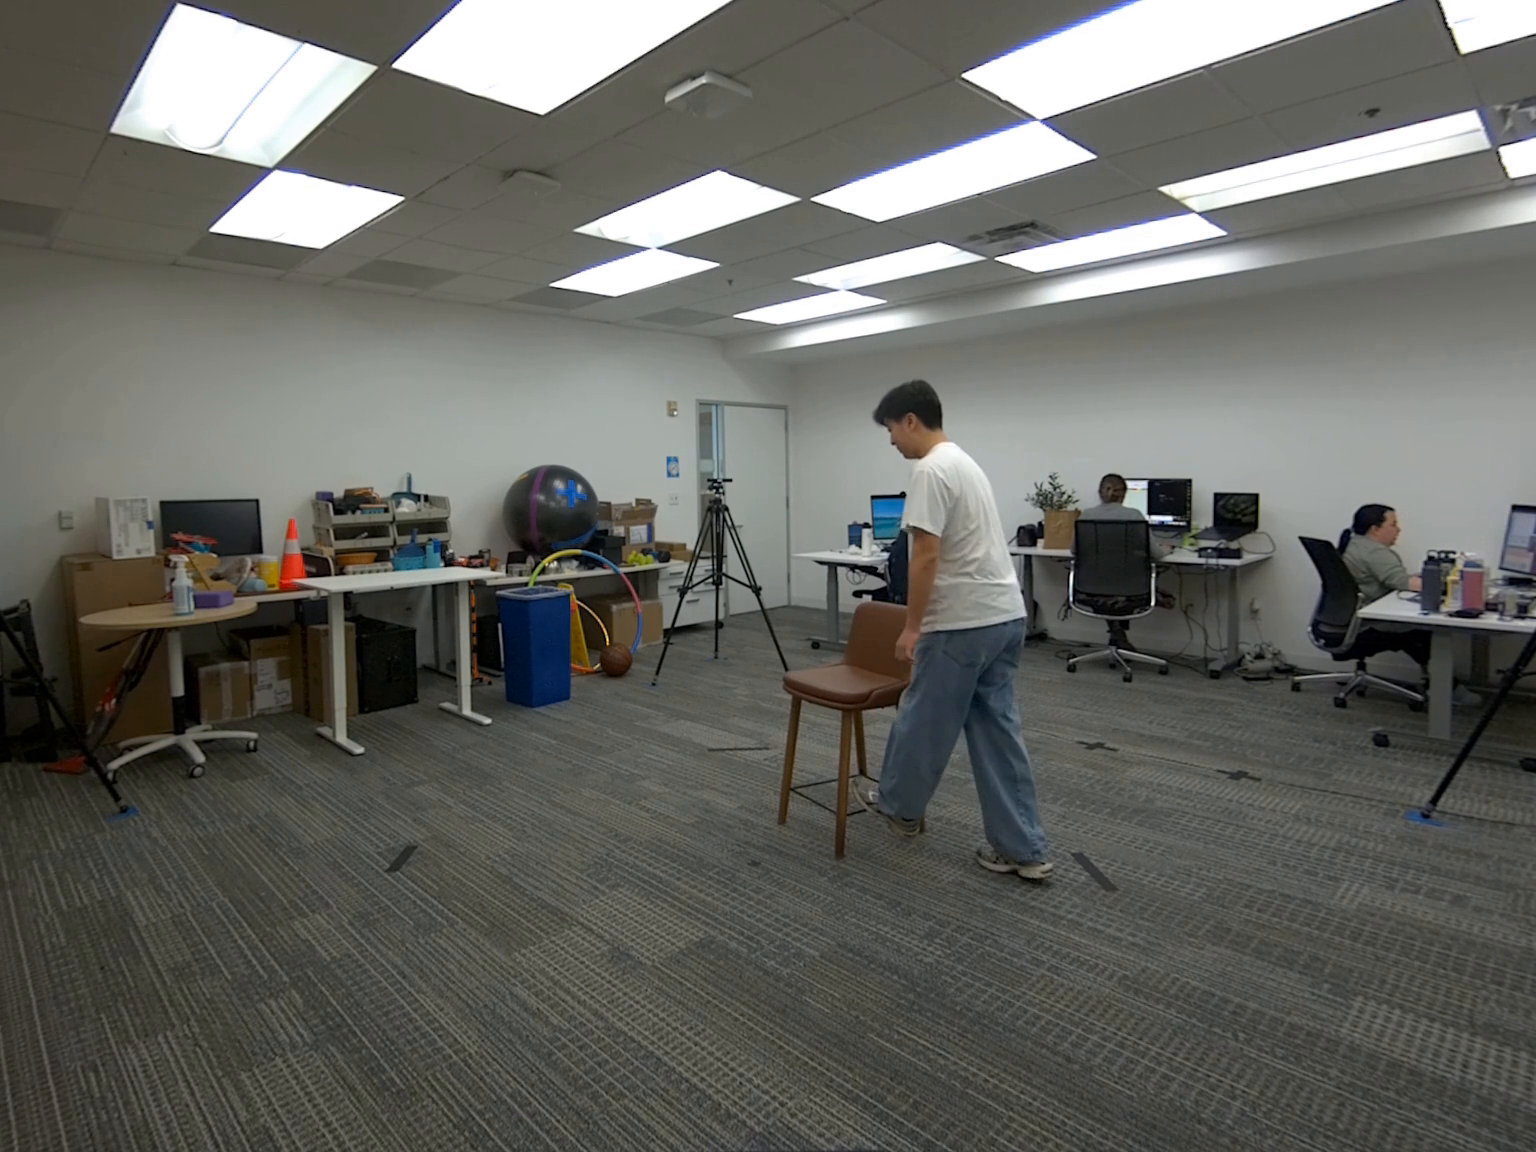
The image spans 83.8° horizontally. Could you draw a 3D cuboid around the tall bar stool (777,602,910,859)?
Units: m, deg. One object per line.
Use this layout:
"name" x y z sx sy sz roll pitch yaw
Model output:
"tall bar stool" 0.335 0.573 3.393 0.456 0.887 0.469 -2 4 -31
